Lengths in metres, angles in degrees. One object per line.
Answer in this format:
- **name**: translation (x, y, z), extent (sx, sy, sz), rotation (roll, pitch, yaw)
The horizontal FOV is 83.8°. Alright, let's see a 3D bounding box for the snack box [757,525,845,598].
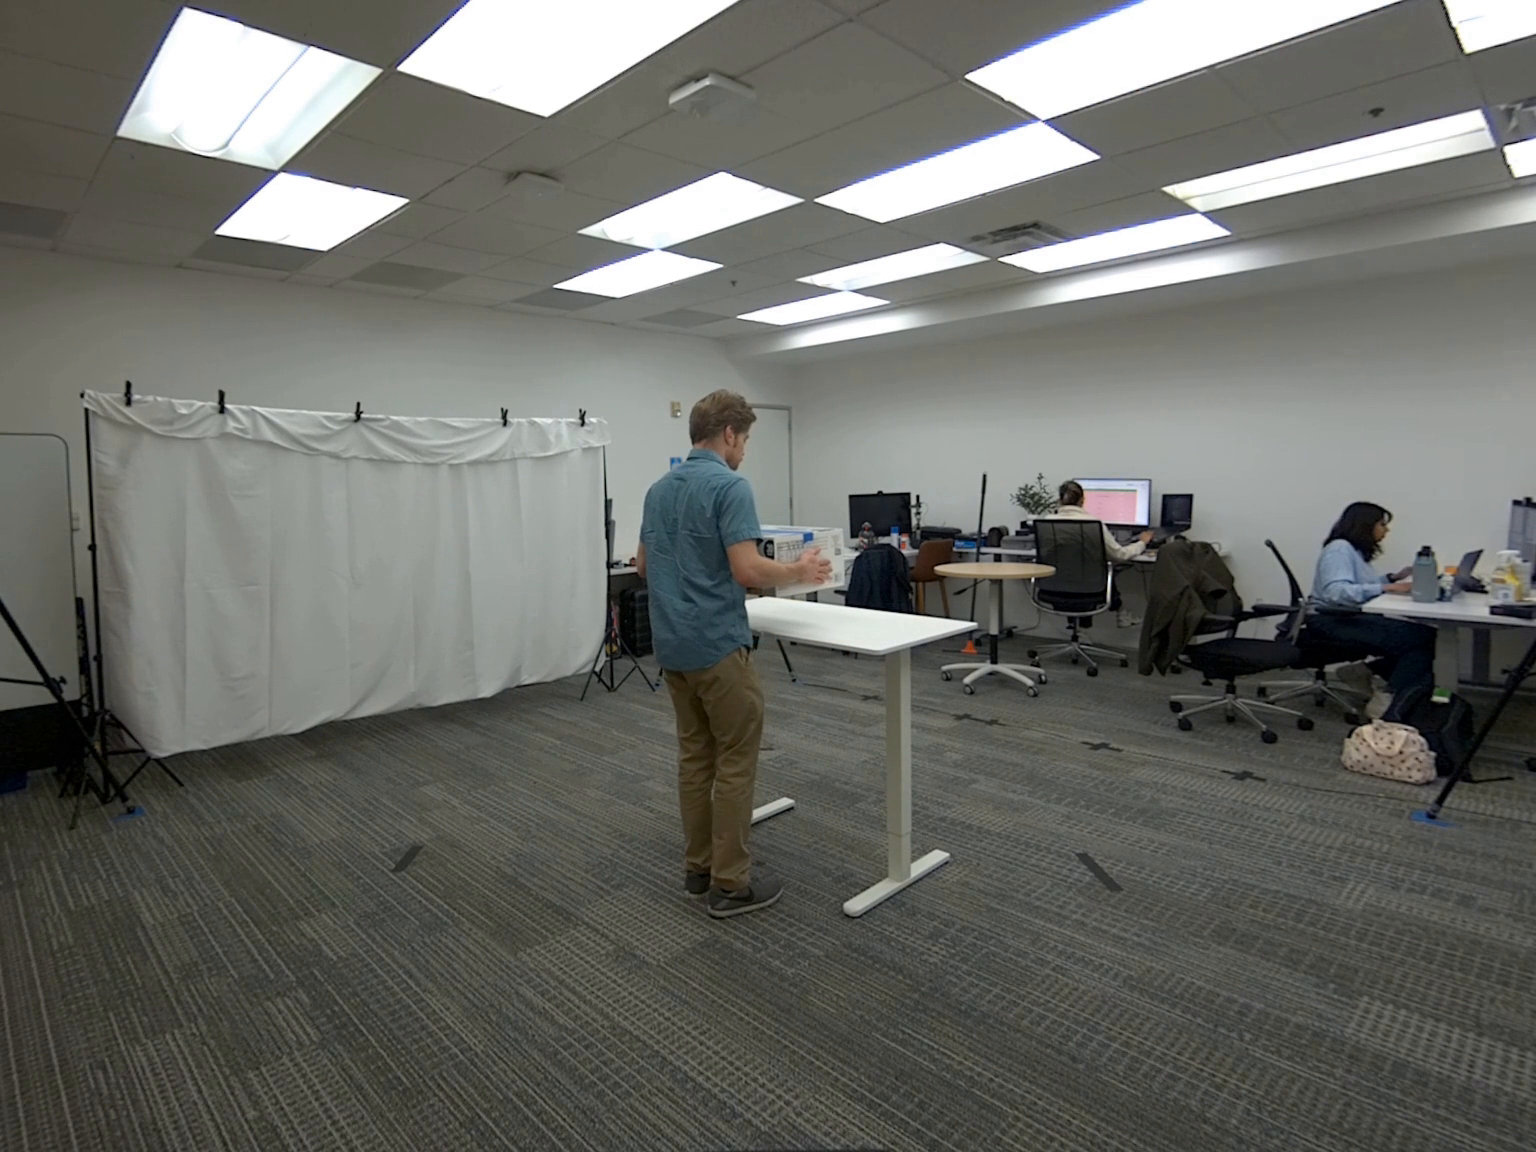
- **snack box**: translation (0.006, -0.060, 3.034), extent (0.332, 0.204, 0.418), rotation (-9, 10, -42)
